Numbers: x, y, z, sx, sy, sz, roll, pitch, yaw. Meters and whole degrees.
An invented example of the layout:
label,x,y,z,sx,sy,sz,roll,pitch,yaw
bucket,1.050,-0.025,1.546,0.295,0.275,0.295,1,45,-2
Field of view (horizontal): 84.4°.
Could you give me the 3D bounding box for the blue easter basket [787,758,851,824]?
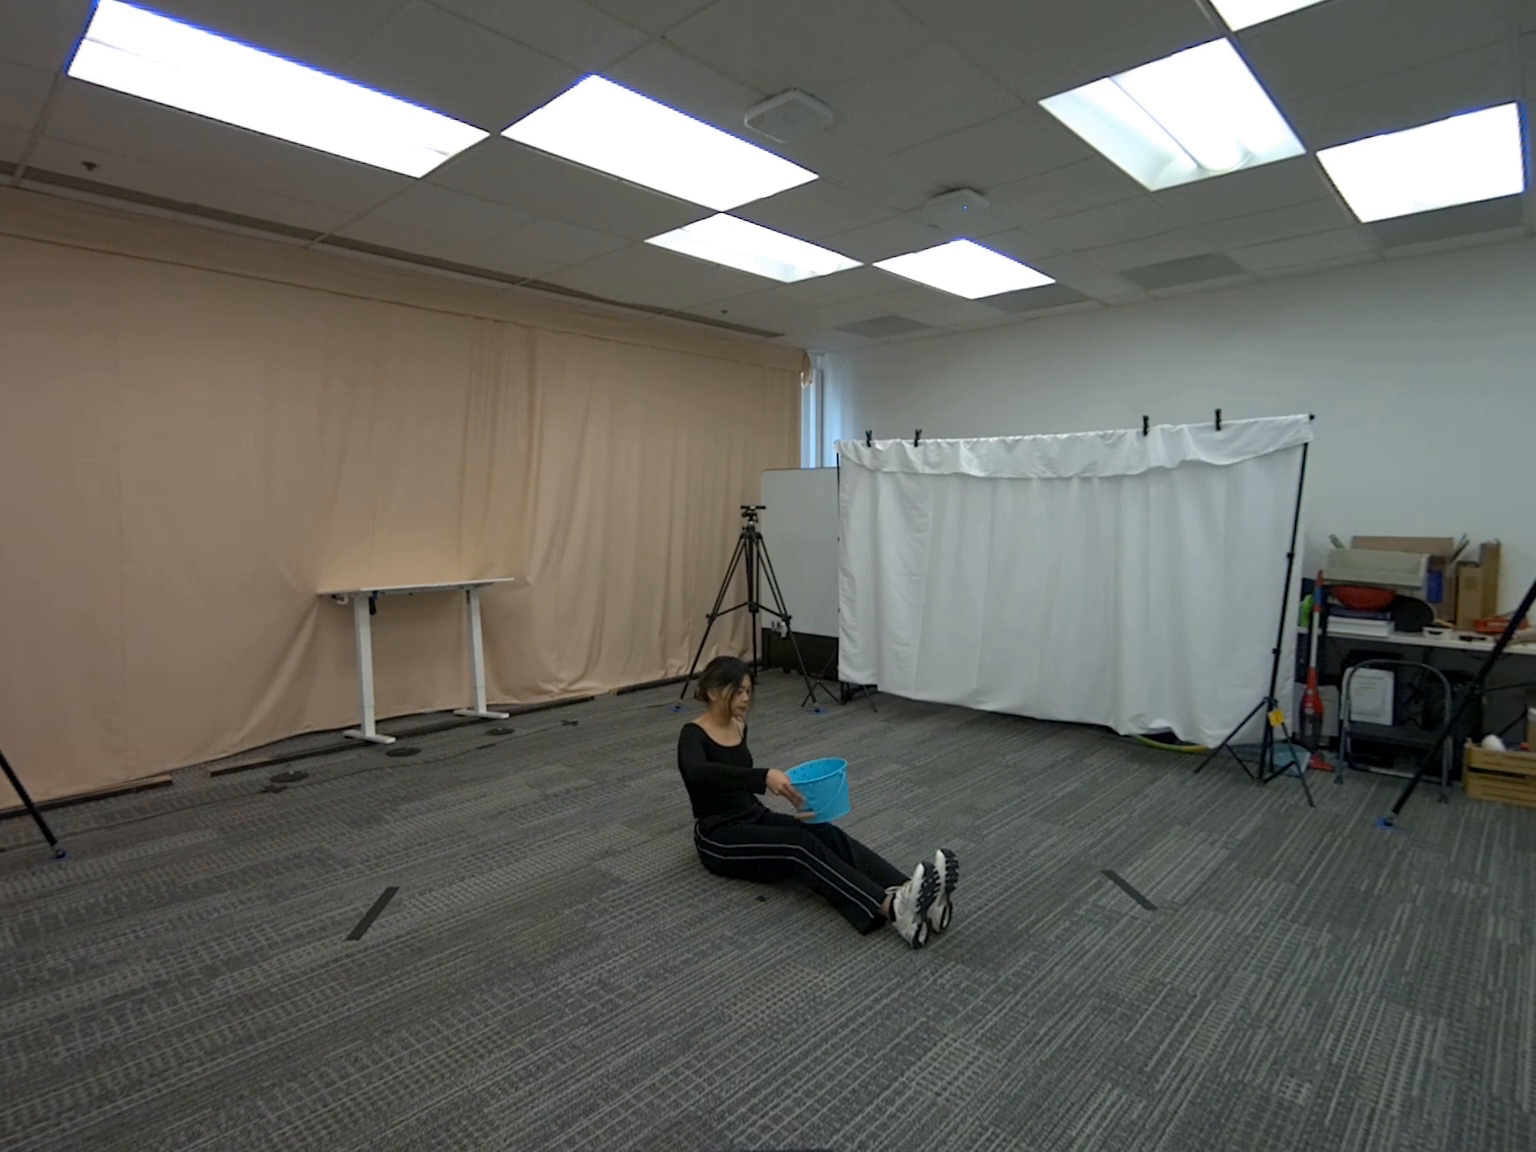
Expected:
label,x,y,z,sx,sy,sz,roll,pitch,yaw
blue easter basket,0.164,0.748,2.897,0.243,0.156,0.244,-13,2,-2
